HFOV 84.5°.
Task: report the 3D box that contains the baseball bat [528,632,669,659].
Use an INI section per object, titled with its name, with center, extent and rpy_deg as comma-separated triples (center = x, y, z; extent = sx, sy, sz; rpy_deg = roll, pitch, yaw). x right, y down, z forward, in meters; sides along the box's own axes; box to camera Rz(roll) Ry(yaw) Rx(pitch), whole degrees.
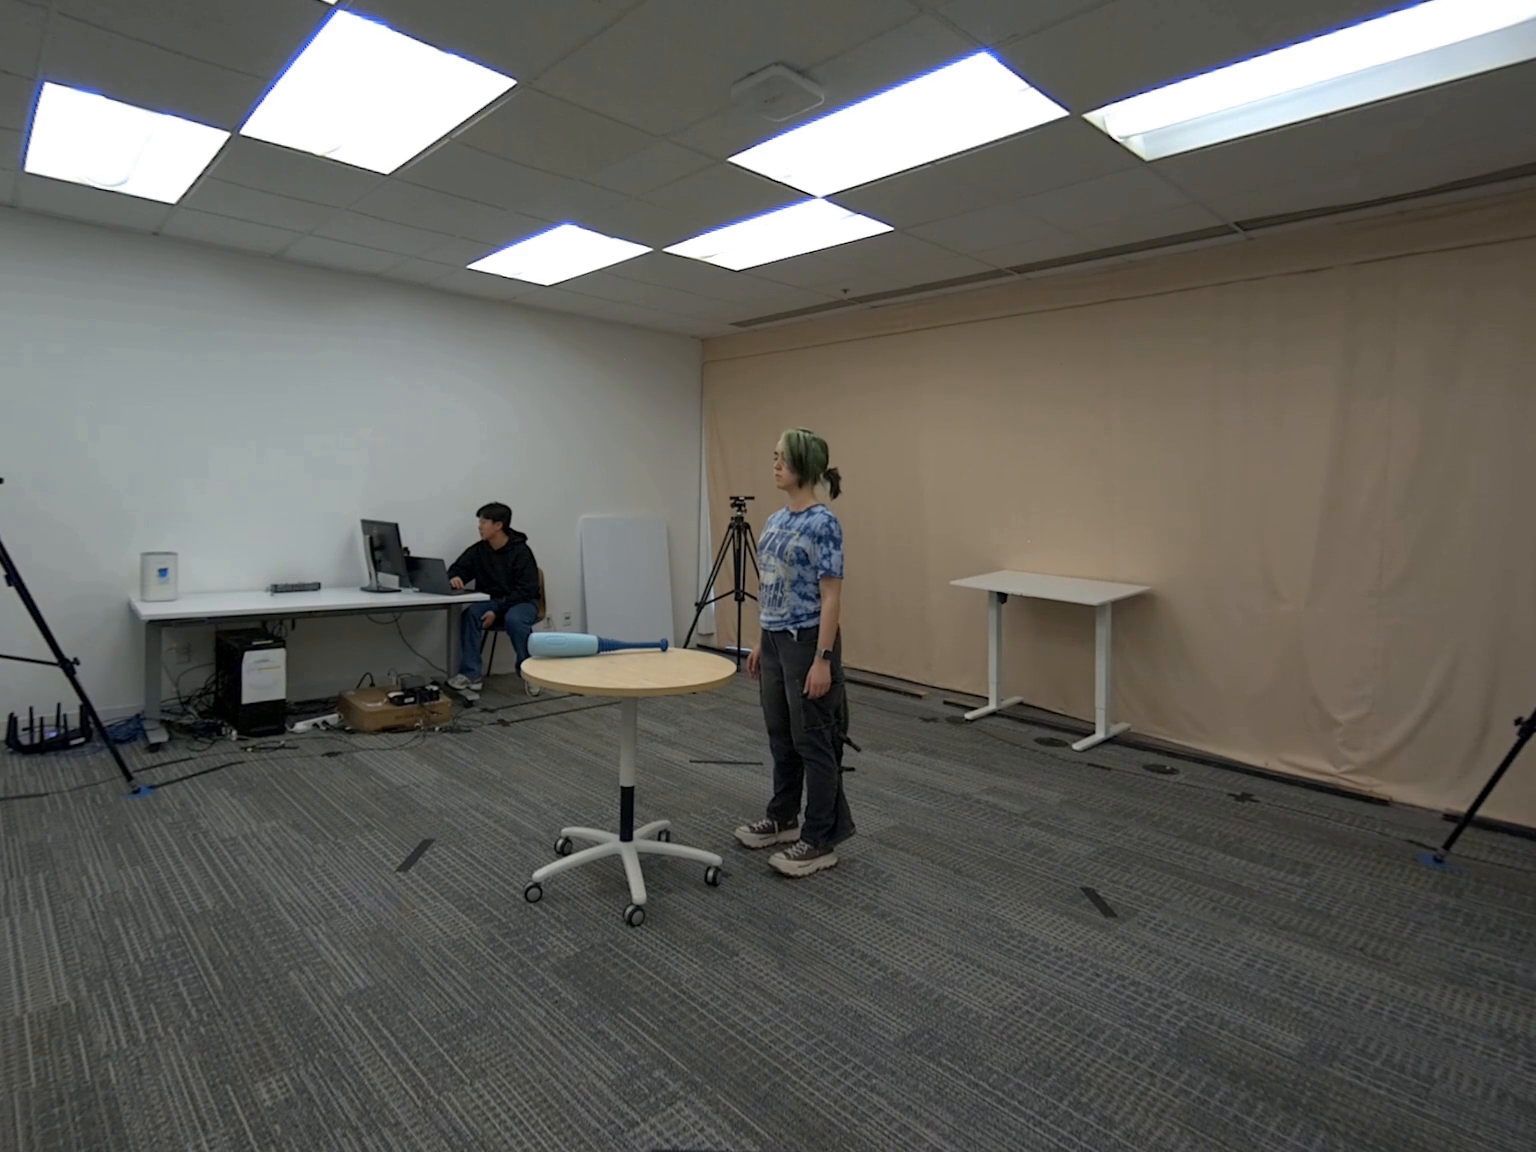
[baseball bat]
center = -0.642, 0.267, 3.186
extent = 0.532, 0.089, 0.091
rpy_deg = 3, 3, -26
